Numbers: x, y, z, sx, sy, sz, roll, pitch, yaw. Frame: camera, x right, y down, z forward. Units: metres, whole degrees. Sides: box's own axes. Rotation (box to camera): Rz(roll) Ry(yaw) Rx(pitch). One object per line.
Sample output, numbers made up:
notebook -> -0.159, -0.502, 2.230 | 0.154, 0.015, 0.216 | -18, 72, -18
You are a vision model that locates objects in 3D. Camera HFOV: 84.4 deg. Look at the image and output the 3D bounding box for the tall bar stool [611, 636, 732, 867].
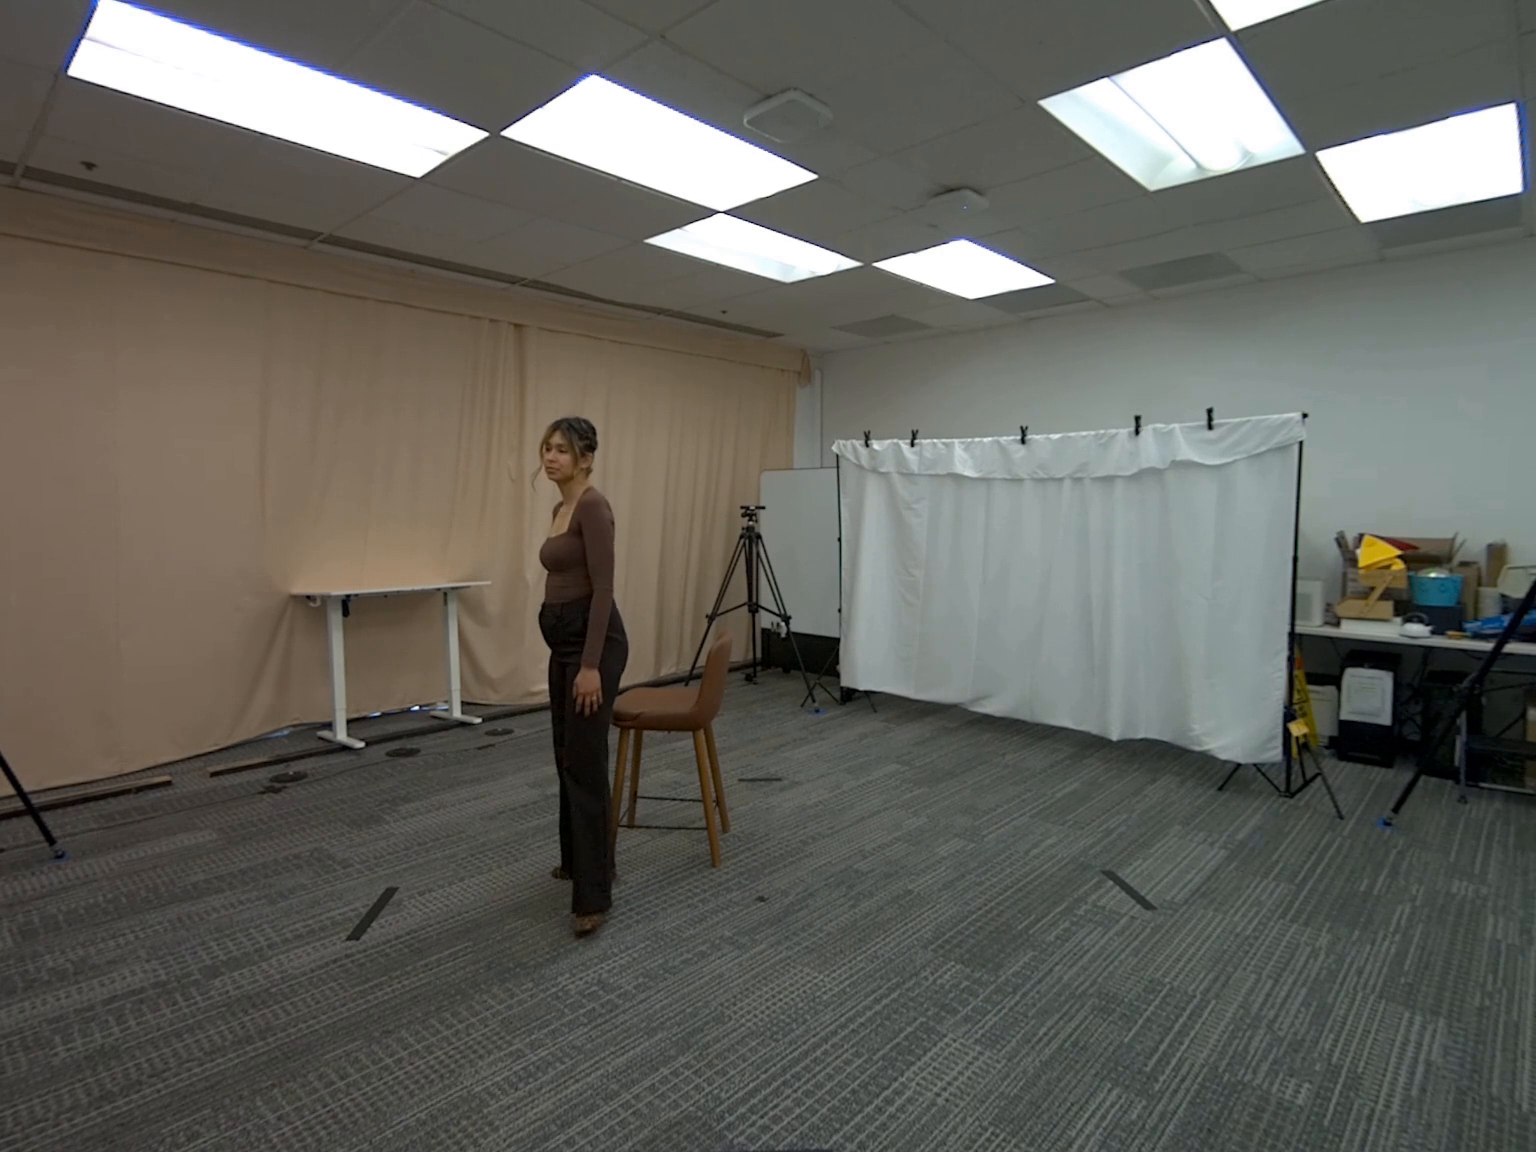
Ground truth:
tall bar stool -> -0.398, 0.675, 3.436 | 0.471, 0.888, 0.455 | 1, 3, 5
